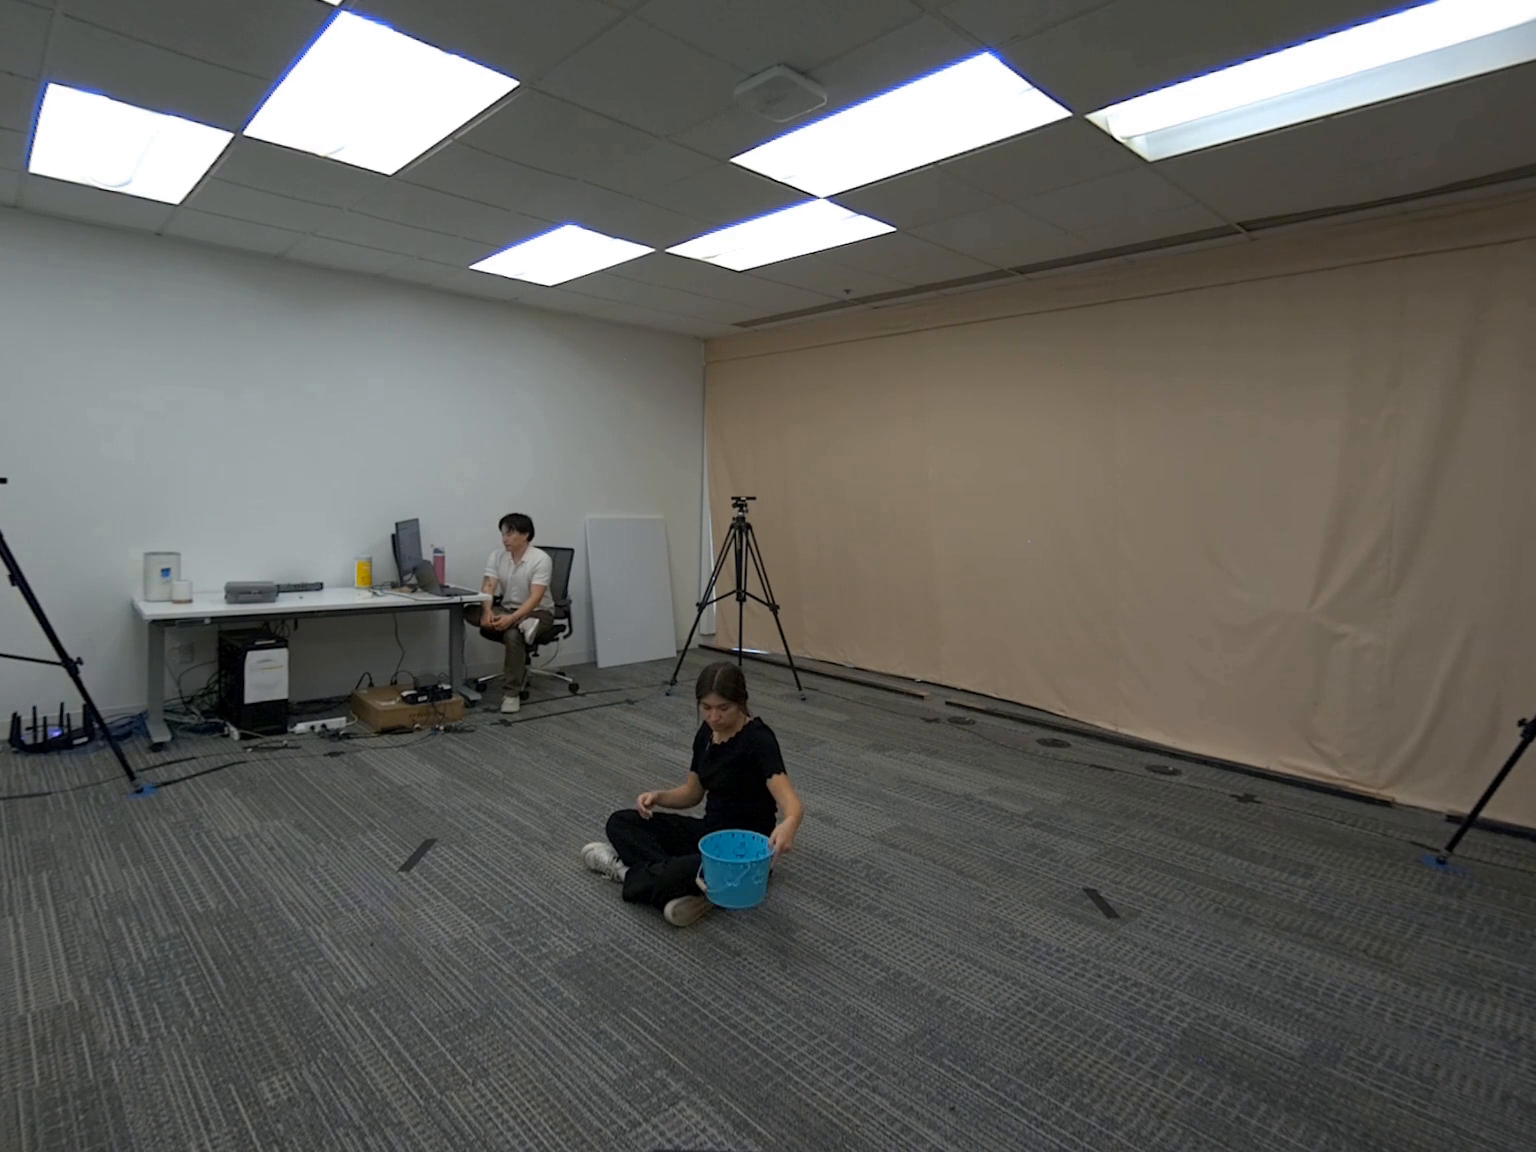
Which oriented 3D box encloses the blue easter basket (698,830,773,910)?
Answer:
[{"bbox_3d":[-0.121,0.902,2.578,0.243,0.155,0.244,4,5,-2],"label":"blue easter basket"}]
